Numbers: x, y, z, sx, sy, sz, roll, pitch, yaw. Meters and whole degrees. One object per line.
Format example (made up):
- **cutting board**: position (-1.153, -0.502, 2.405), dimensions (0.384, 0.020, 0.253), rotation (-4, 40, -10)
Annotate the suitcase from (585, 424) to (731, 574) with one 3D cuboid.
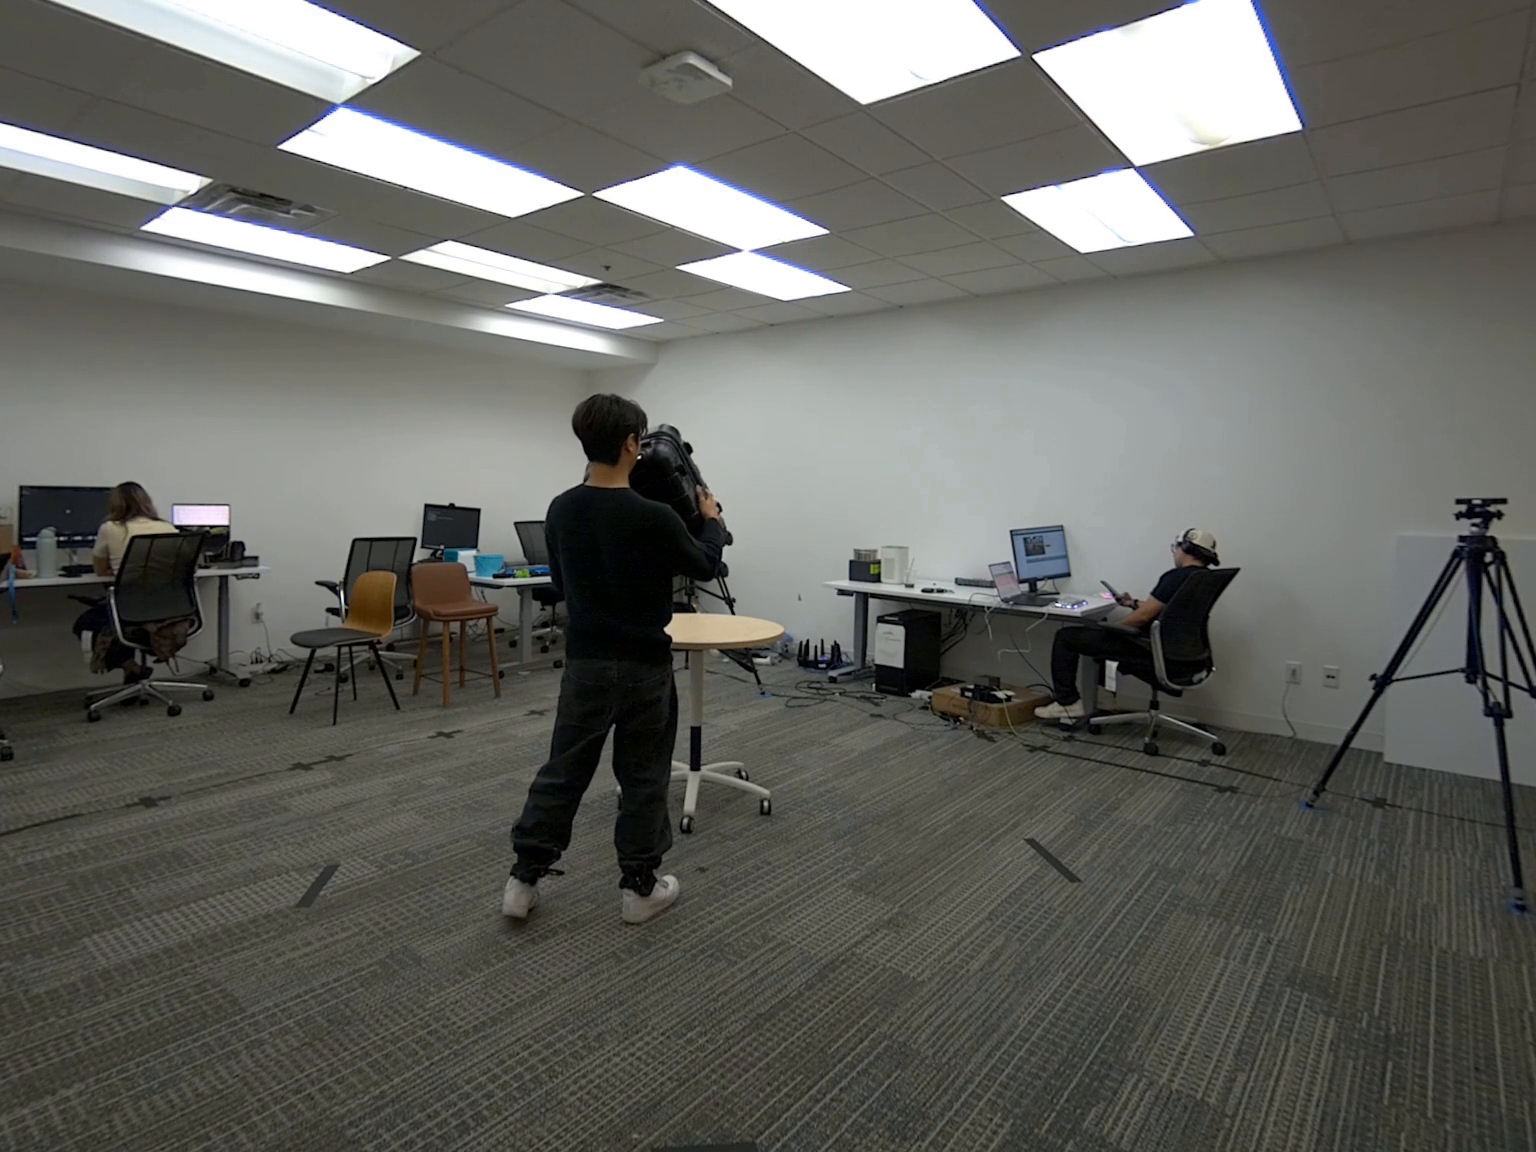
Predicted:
- **suitcase**: position (-0.409, -0.240, 3.014), dimensions (0.380, 0.532, 0.253), rotation (-18, 29, 18)
